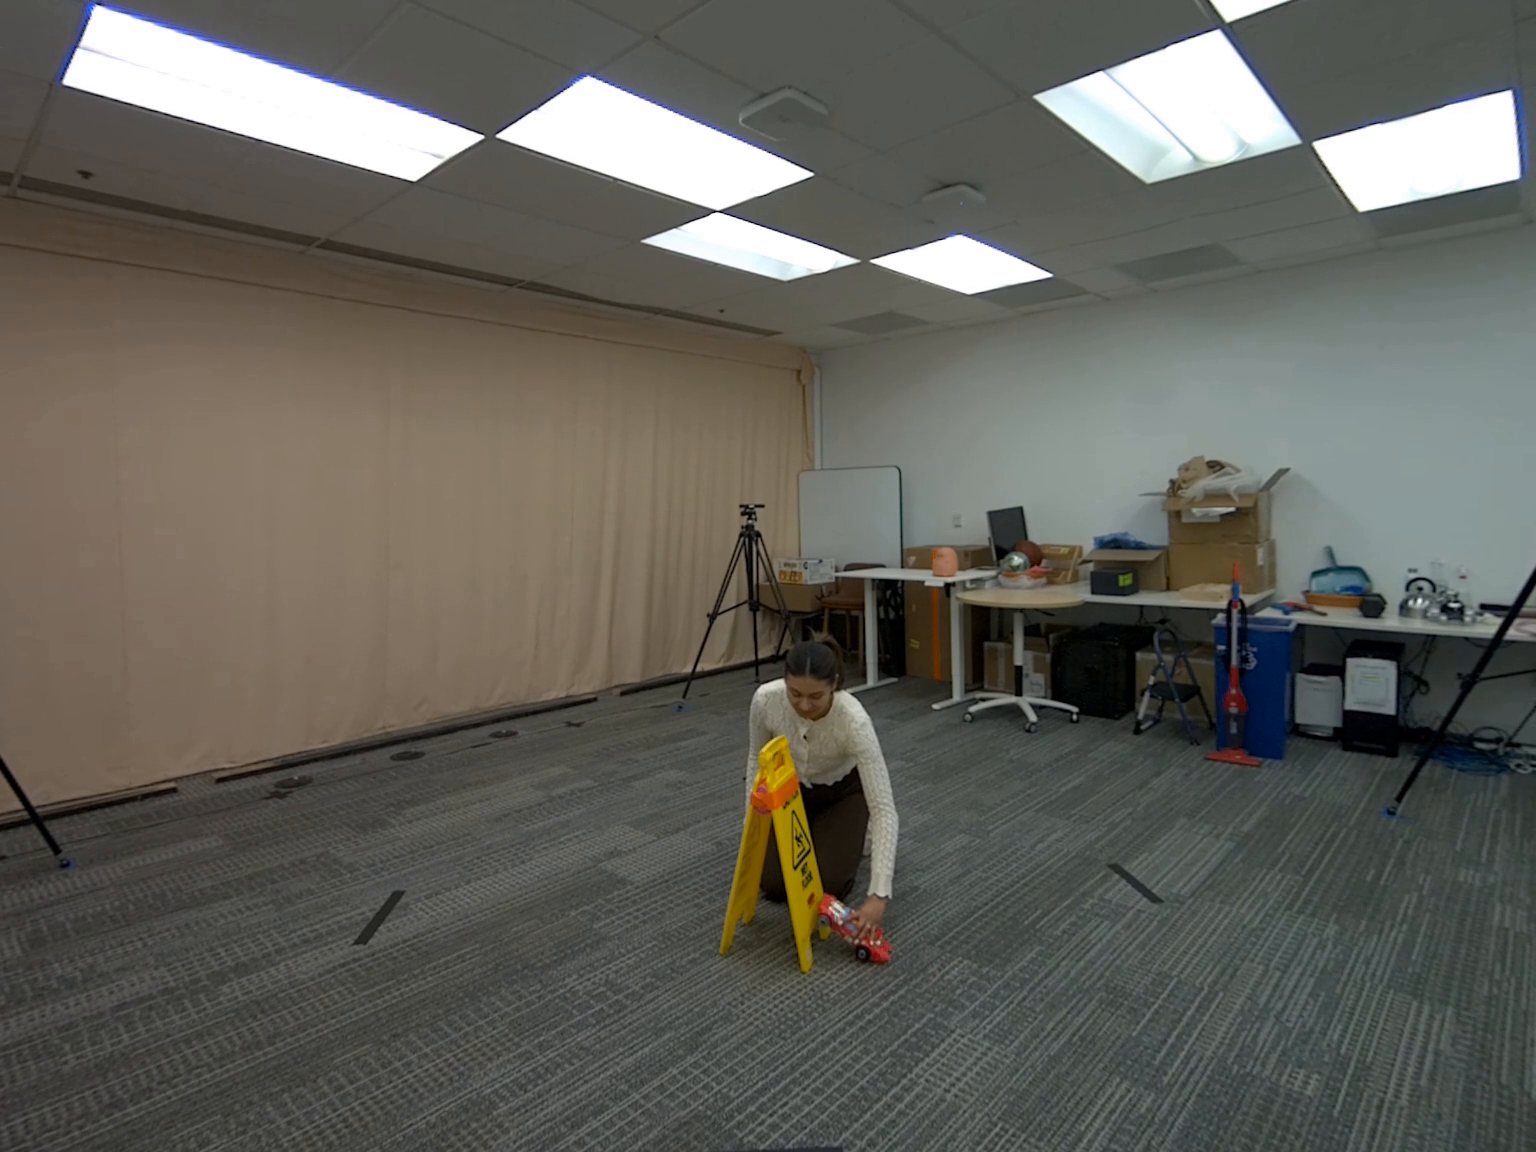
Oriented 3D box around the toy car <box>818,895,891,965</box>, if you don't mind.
[{"bbox_3d":[0.265,1.088,2.590,0.259,0.083,0.128,27,14,14],"label":"toy car"}]
